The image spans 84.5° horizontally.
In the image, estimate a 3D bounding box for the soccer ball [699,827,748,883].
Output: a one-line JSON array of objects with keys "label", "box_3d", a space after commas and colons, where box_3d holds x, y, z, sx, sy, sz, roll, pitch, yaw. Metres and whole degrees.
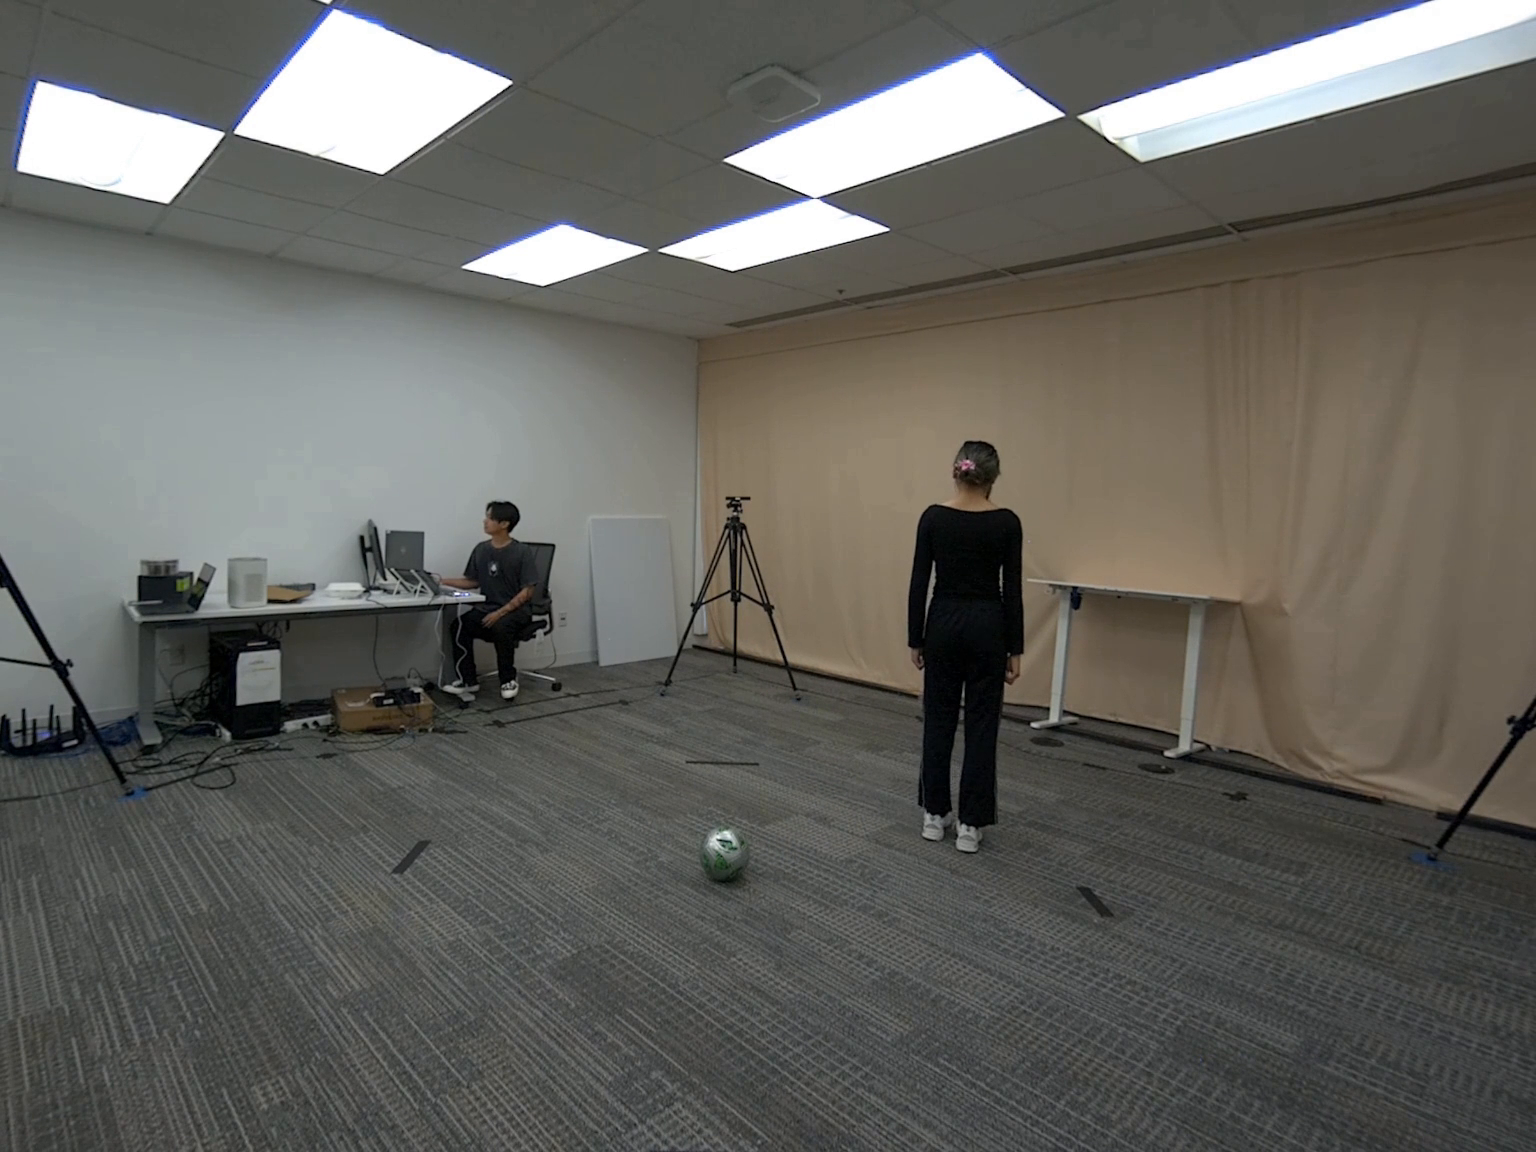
[{"label": "soccer ball", "box_3d": [-0.167, 1.013, 3.078, 0.187, 0.187, 0.188, 1, 4, -1]}]
